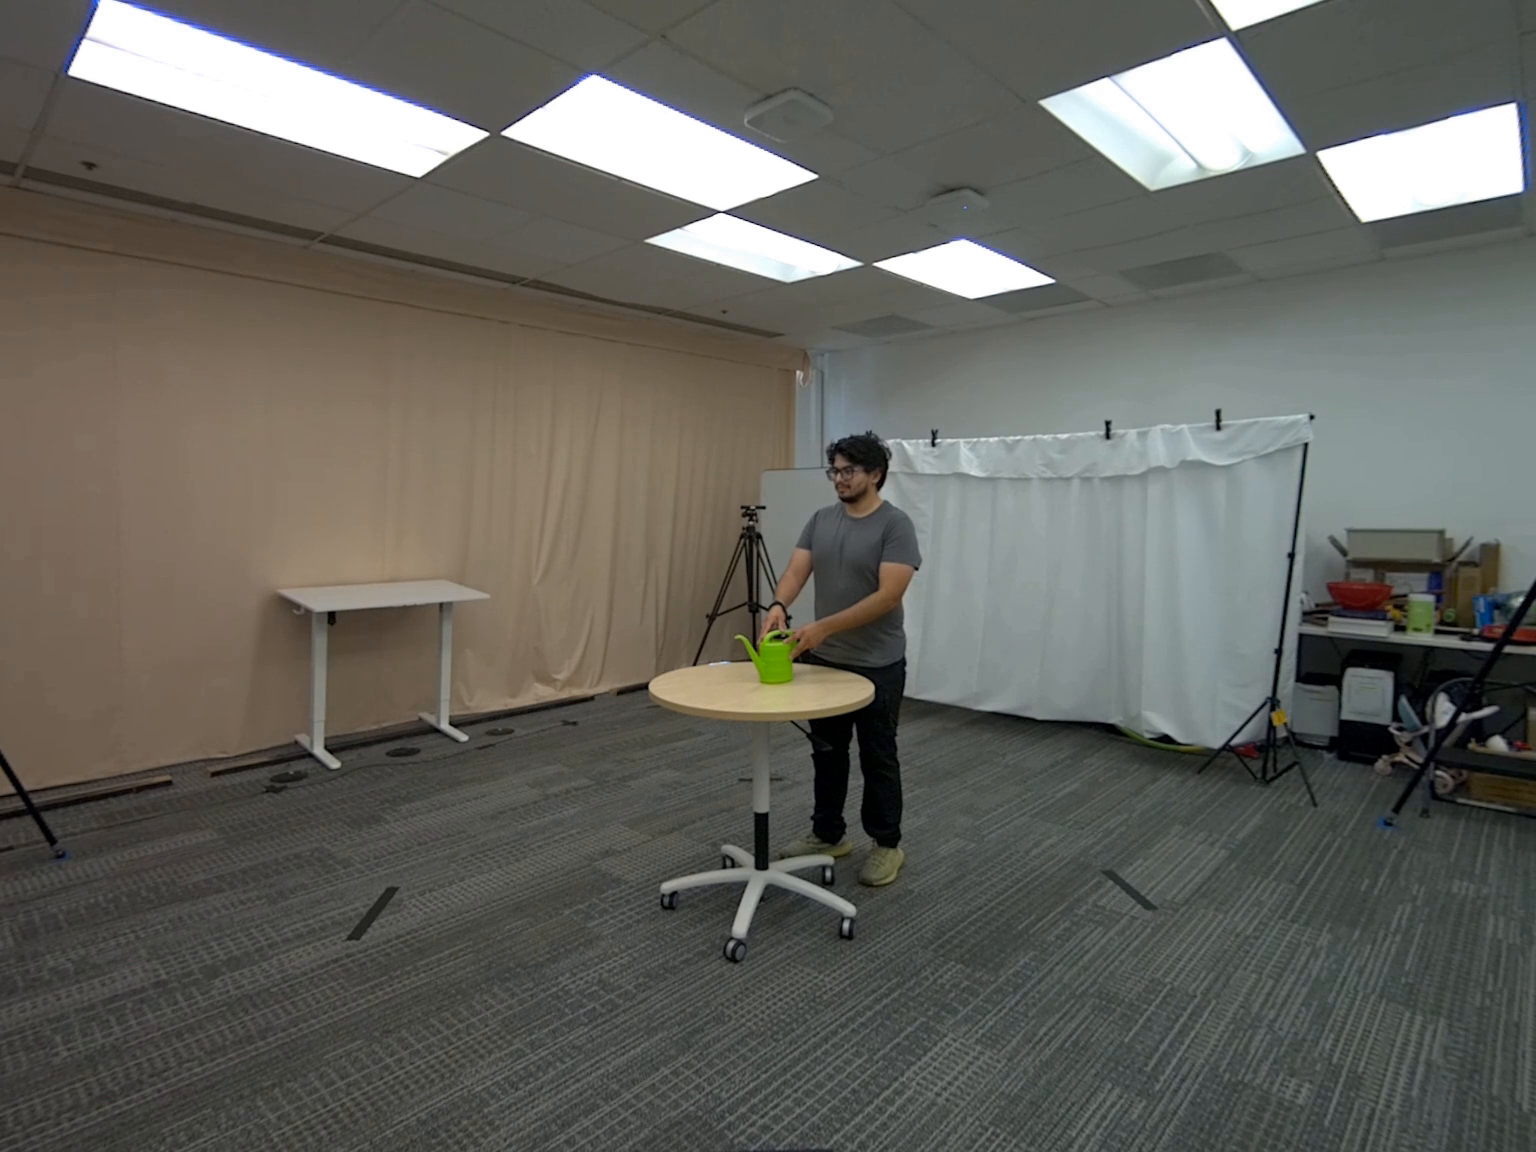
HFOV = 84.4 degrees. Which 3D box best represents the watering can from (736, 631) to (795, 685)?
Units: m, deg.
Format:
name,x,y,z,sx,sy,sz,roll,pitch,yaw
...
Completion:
name,x,y,z,sx,sy,sz,roll,pitch,yaw
watering can,-0.007,0.282,2.900,0.271,0.177,0.101,0,1,-30
